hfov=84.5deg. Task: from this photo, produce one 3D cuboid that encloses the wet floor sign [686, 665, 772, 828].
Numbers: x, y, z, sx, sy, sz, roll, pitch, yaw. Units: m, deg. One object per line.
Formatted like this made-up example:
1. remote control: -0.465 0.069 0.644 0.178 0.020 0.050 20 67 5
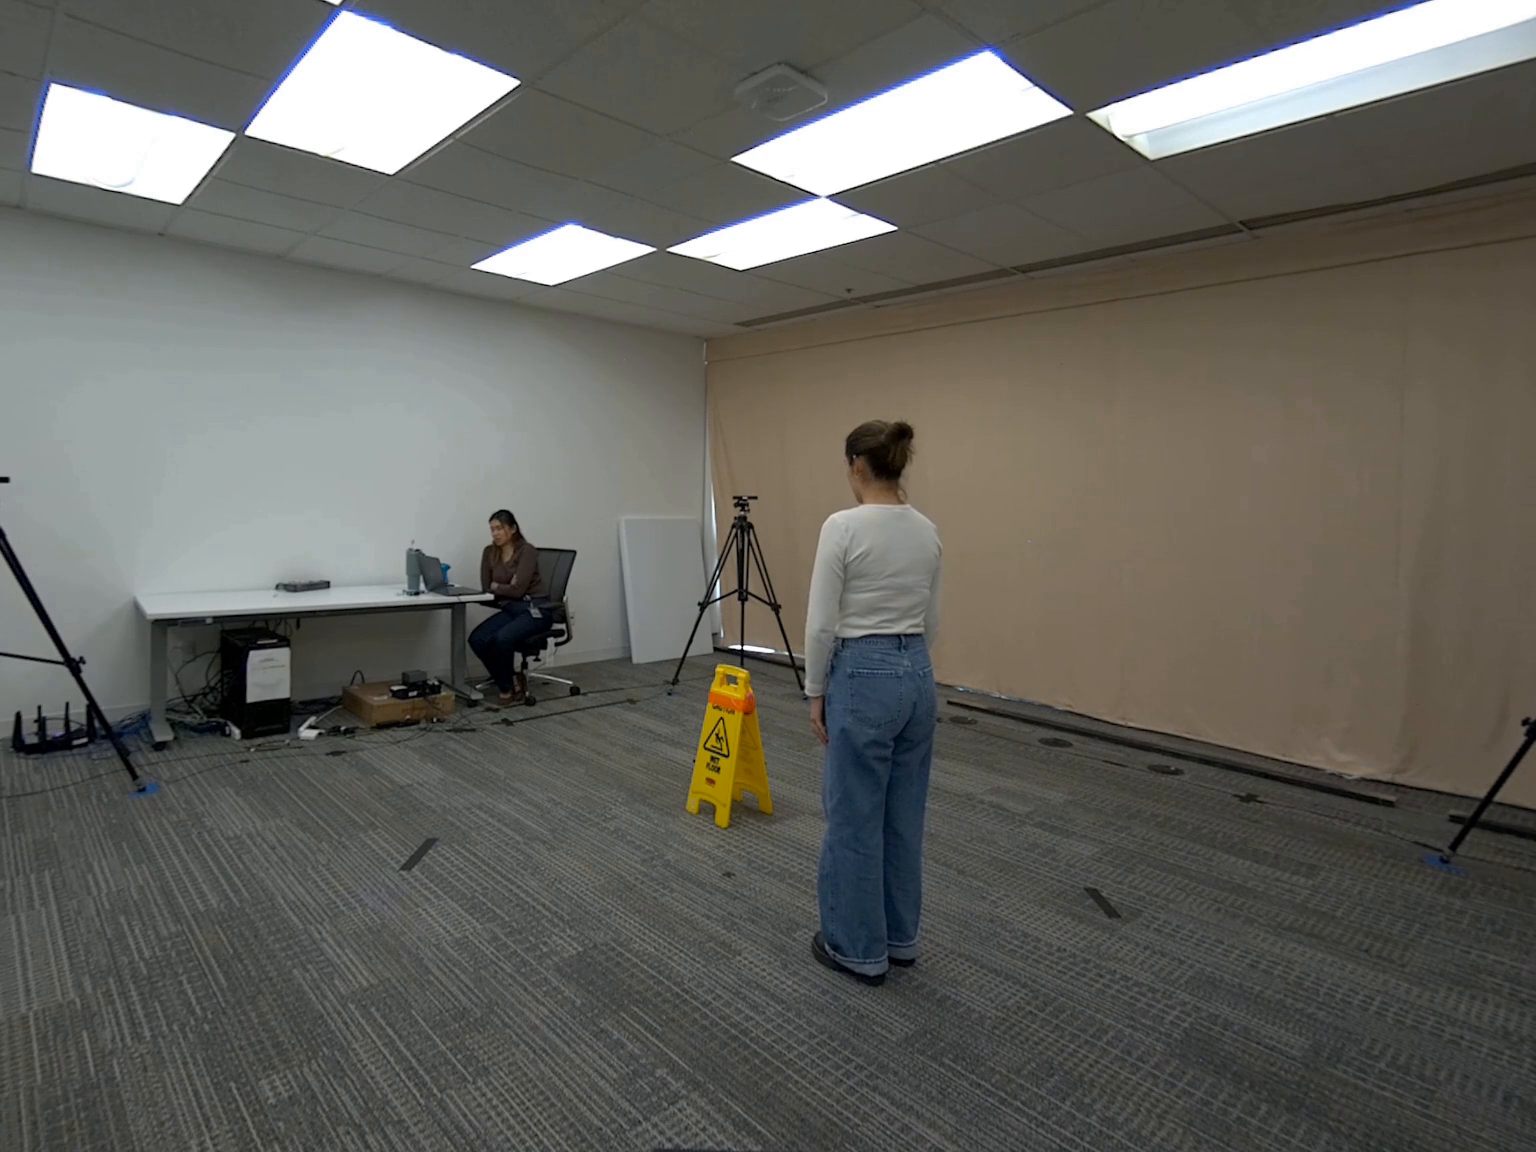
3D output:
1. wet floor sign: -0.176 0.725 3.716 0.283 0.645 0.289 -2 4 -42
